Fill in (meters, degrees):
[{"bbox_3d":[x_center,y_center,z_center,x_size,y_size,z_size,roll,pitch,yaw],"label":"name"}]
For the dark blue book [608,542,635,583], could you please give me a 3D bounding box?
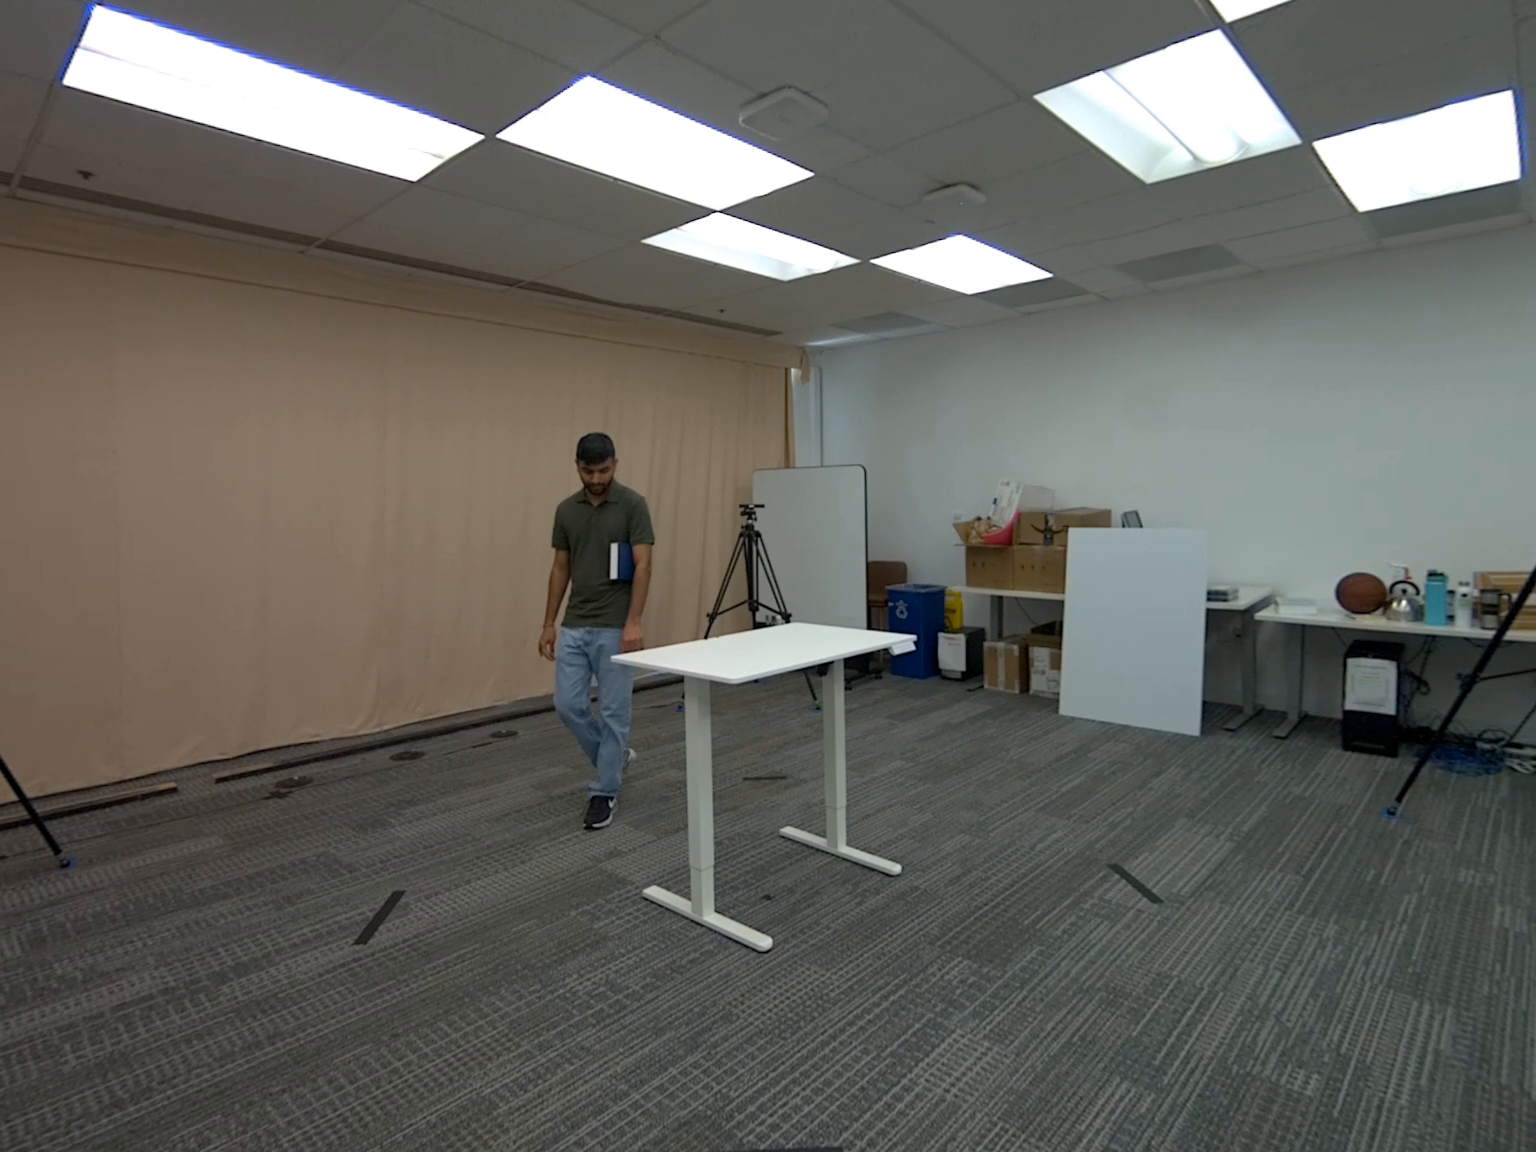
[{"bbox_3d":[-0.620,-0.062,3.745,0.046,0.164,0.239,0,-2,22],"label":"dark blue book"}]
